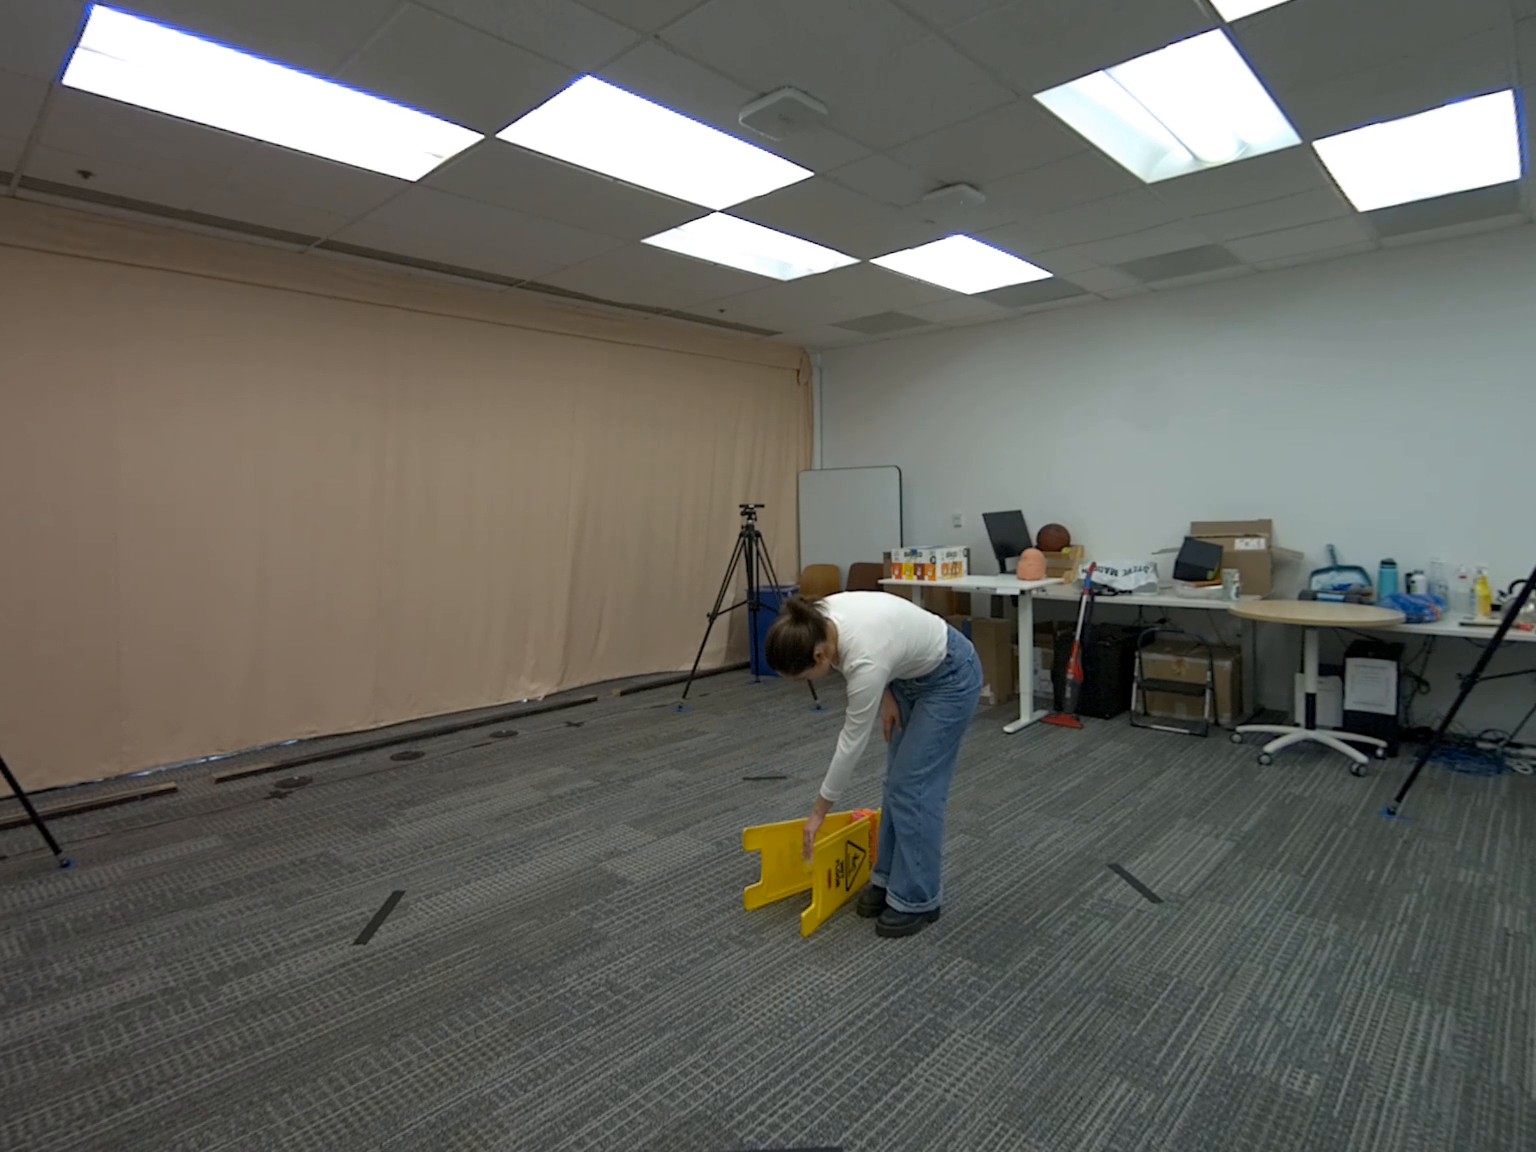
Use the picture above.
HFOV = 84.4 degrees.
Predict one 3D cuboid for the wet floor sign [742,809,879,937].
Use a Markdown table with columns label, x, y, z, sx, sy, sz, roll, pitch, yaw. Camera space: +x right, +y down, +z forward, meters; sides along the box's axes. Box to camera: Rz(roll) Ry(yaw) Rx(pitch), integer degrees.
| label | x | y | z | sx | sy | sz | roll | pitch | yaw |
| --- | --- | --- | --- | --- | --- | --- | --- | --- | --- |
| wet floor sign | 0.236 | 1.004 | 3.017 | 0.299 | 0.282 | 0.626 | 4 | 5 | 45 |
